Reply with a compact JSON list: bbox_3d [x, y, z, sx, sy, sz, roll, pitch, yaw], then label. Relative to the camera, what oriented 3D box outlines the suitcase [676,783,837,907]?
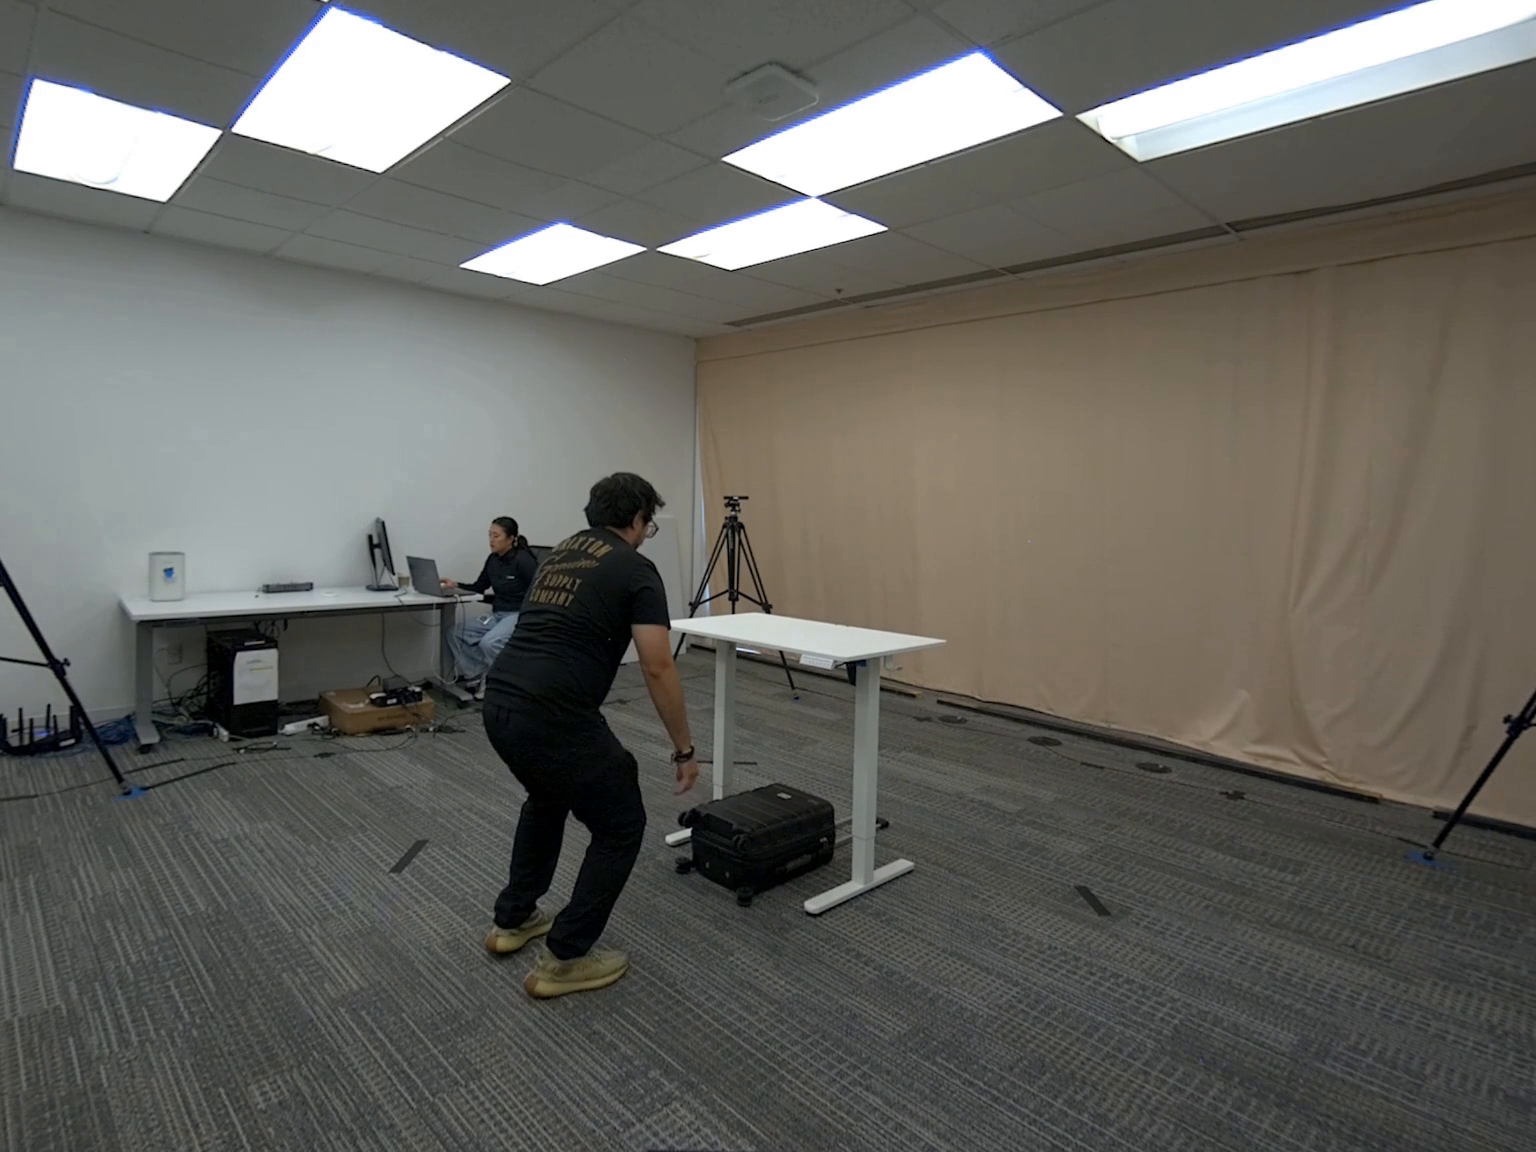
[{"bbox_3d":[0.112,0.967,3.316,0.394,0.256,0.957,4,7,45],"label":"suitcase"}]
